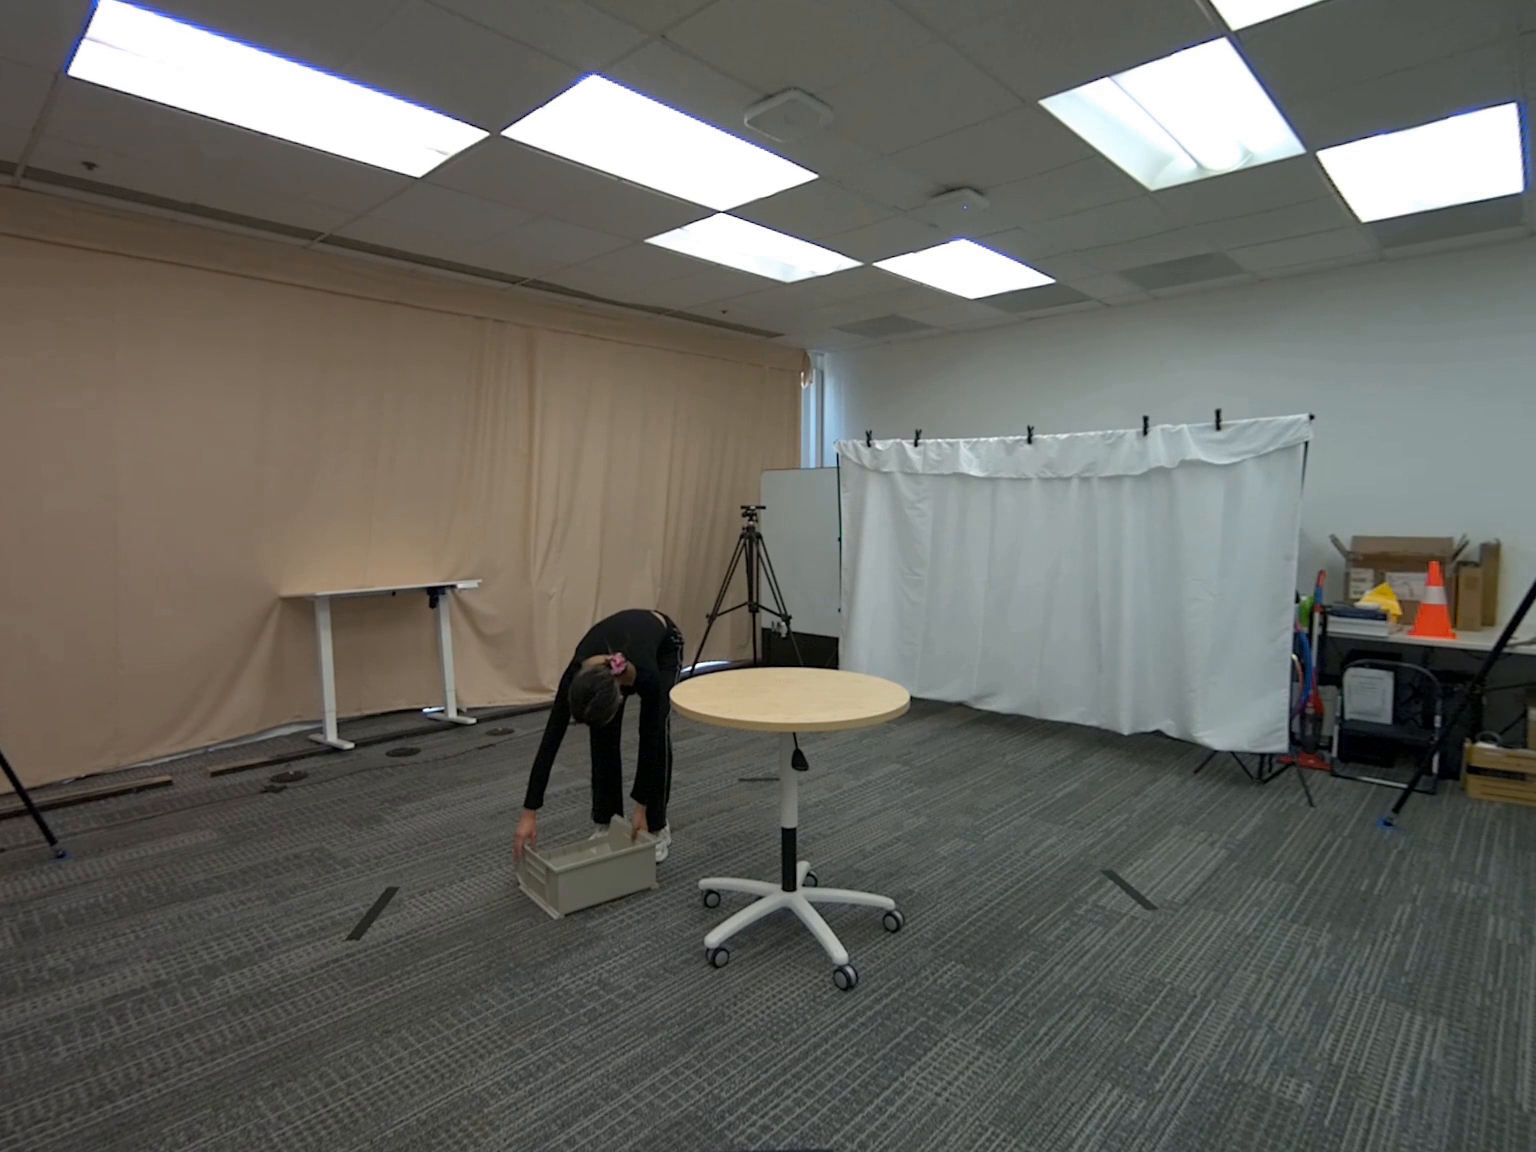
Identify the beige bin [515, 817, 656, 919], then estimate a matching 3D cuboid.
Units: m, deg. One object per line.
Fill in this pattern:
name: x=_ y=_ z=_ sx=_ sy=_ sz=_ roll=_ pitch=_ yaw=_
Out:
beige bin: x=-0.674 y=1.048 z=3.095 sx=0.410 sy=0.188 sz=0.390 roll=-3 pitch=5 yaw=-38
